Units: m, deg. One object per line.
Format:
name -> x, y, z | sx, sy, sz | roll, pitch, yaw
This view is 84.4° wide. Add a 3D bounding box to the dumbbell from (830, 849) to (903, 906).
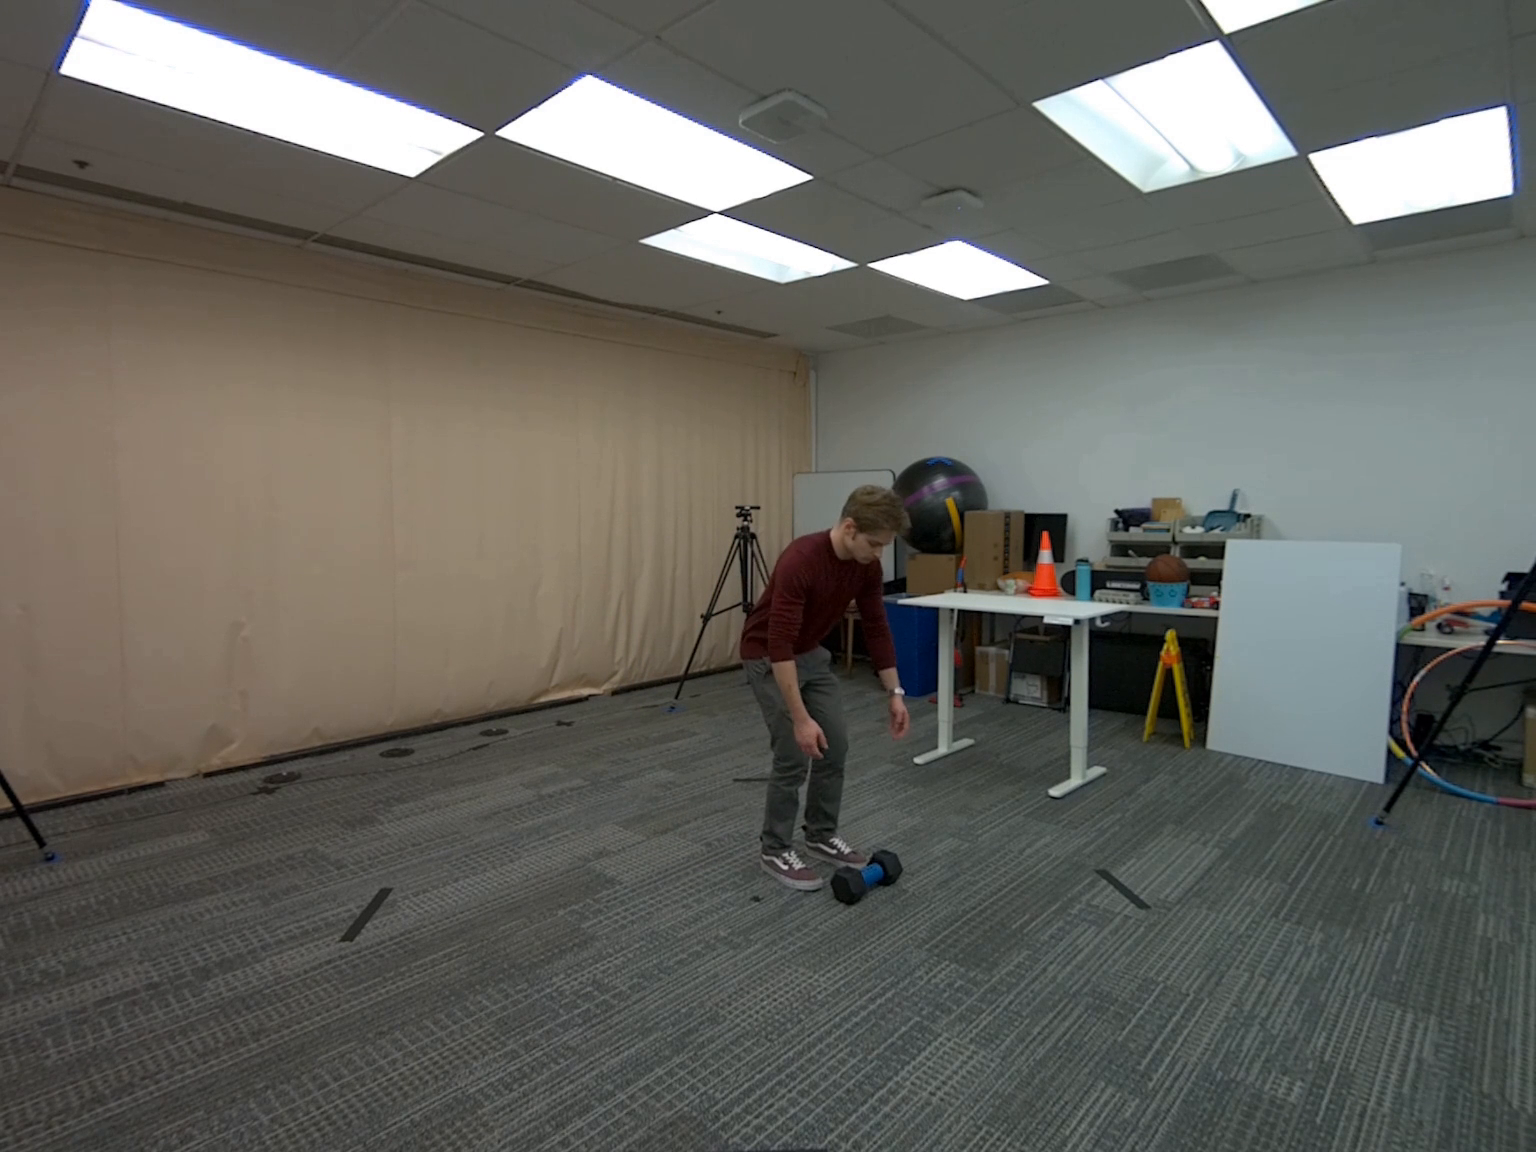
dumbbell -> 0.361, 1.084, 3.041 | 0.284, 0.122, 0.112 | -4, 36, -43
